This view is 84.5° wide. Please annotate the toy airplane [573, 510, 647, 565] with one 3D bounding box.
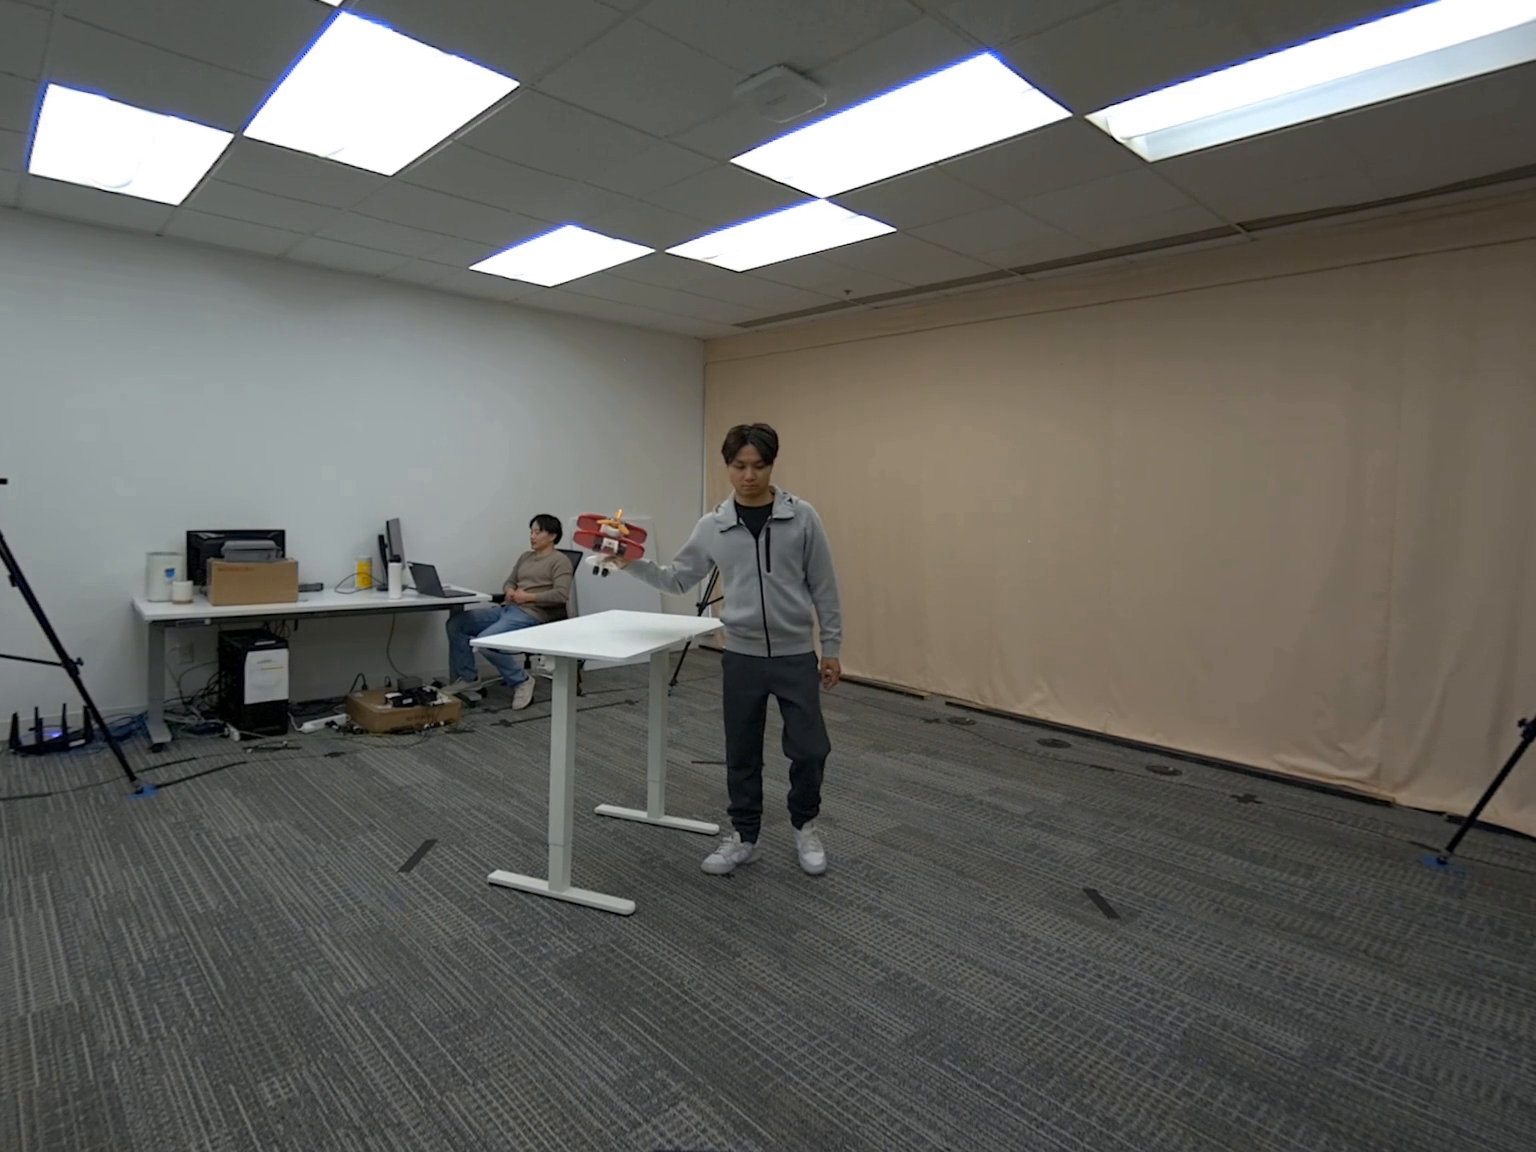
[{"bbox_3d":[-0.592,-0.112,3.028,0.263,0.159,0.244,-20,-39,41],"label":"toy airplane"}]
